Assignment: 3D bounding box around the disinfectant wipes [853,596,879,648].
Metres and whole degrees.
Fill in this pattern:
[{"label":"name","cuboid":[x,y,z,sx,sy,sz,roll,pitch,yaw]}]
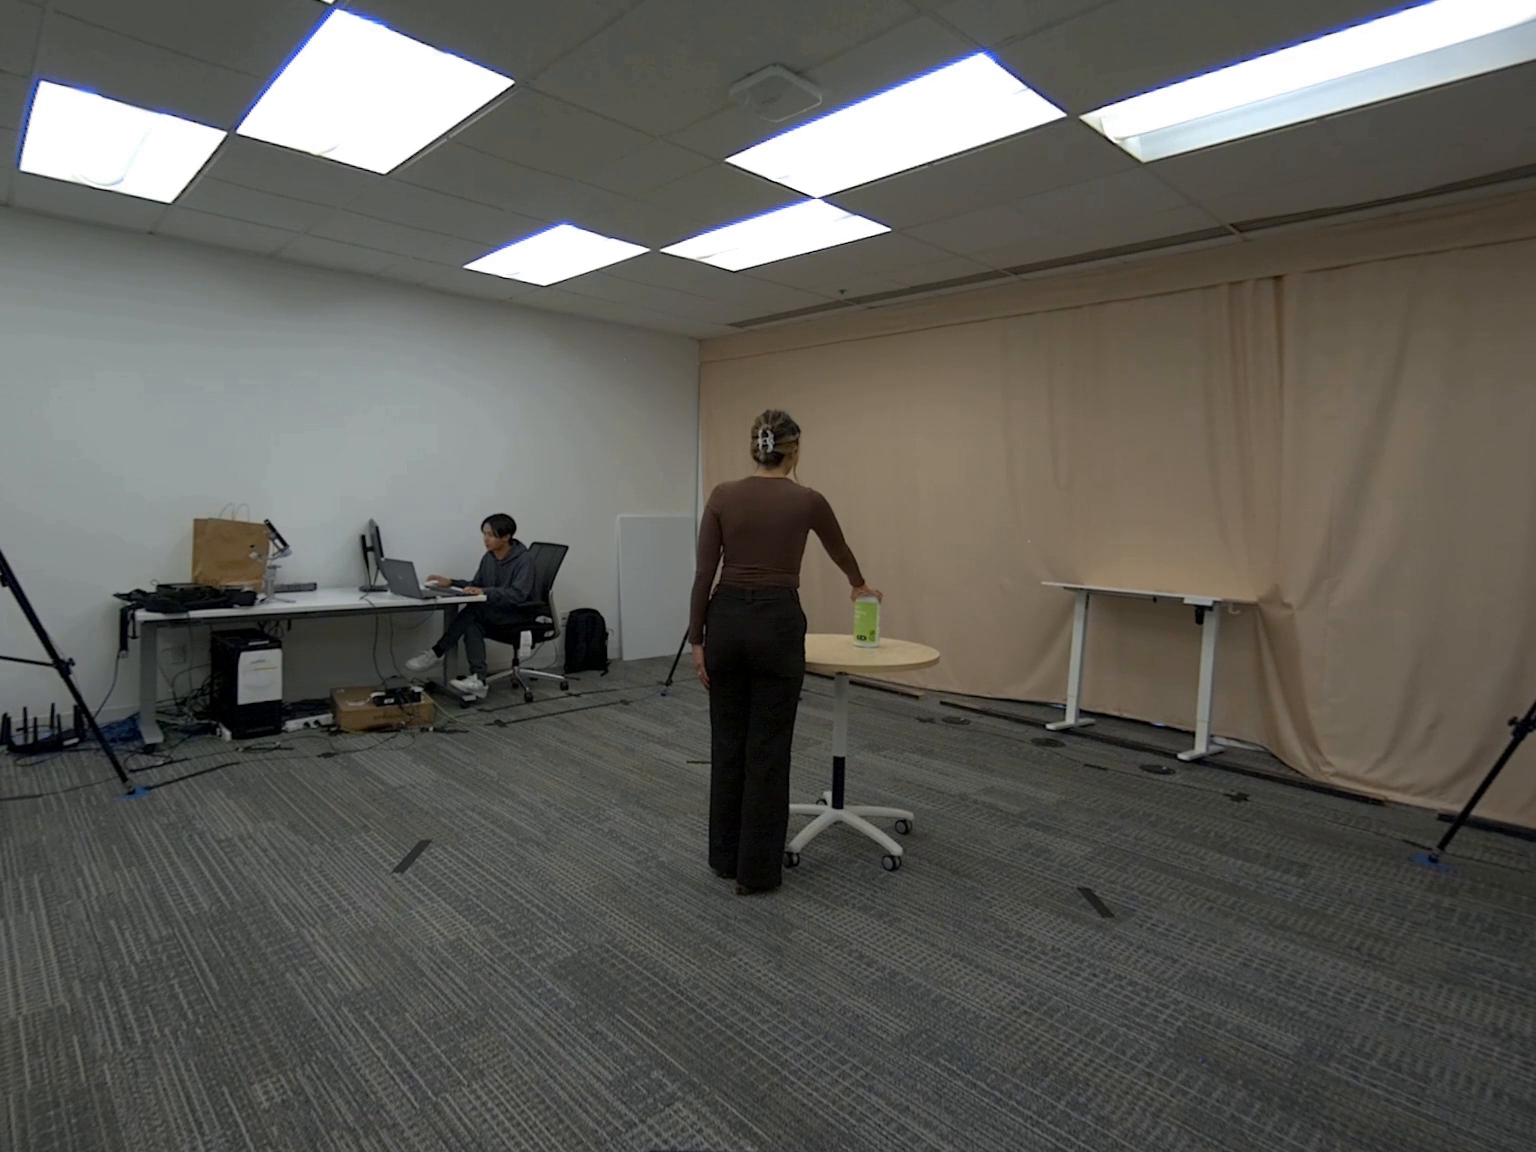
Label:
[{"label":"disinfectant wipes","cuboid":[0.405,0.182,3.491,0.118,0.217,0.118,1,5,-1]}]
